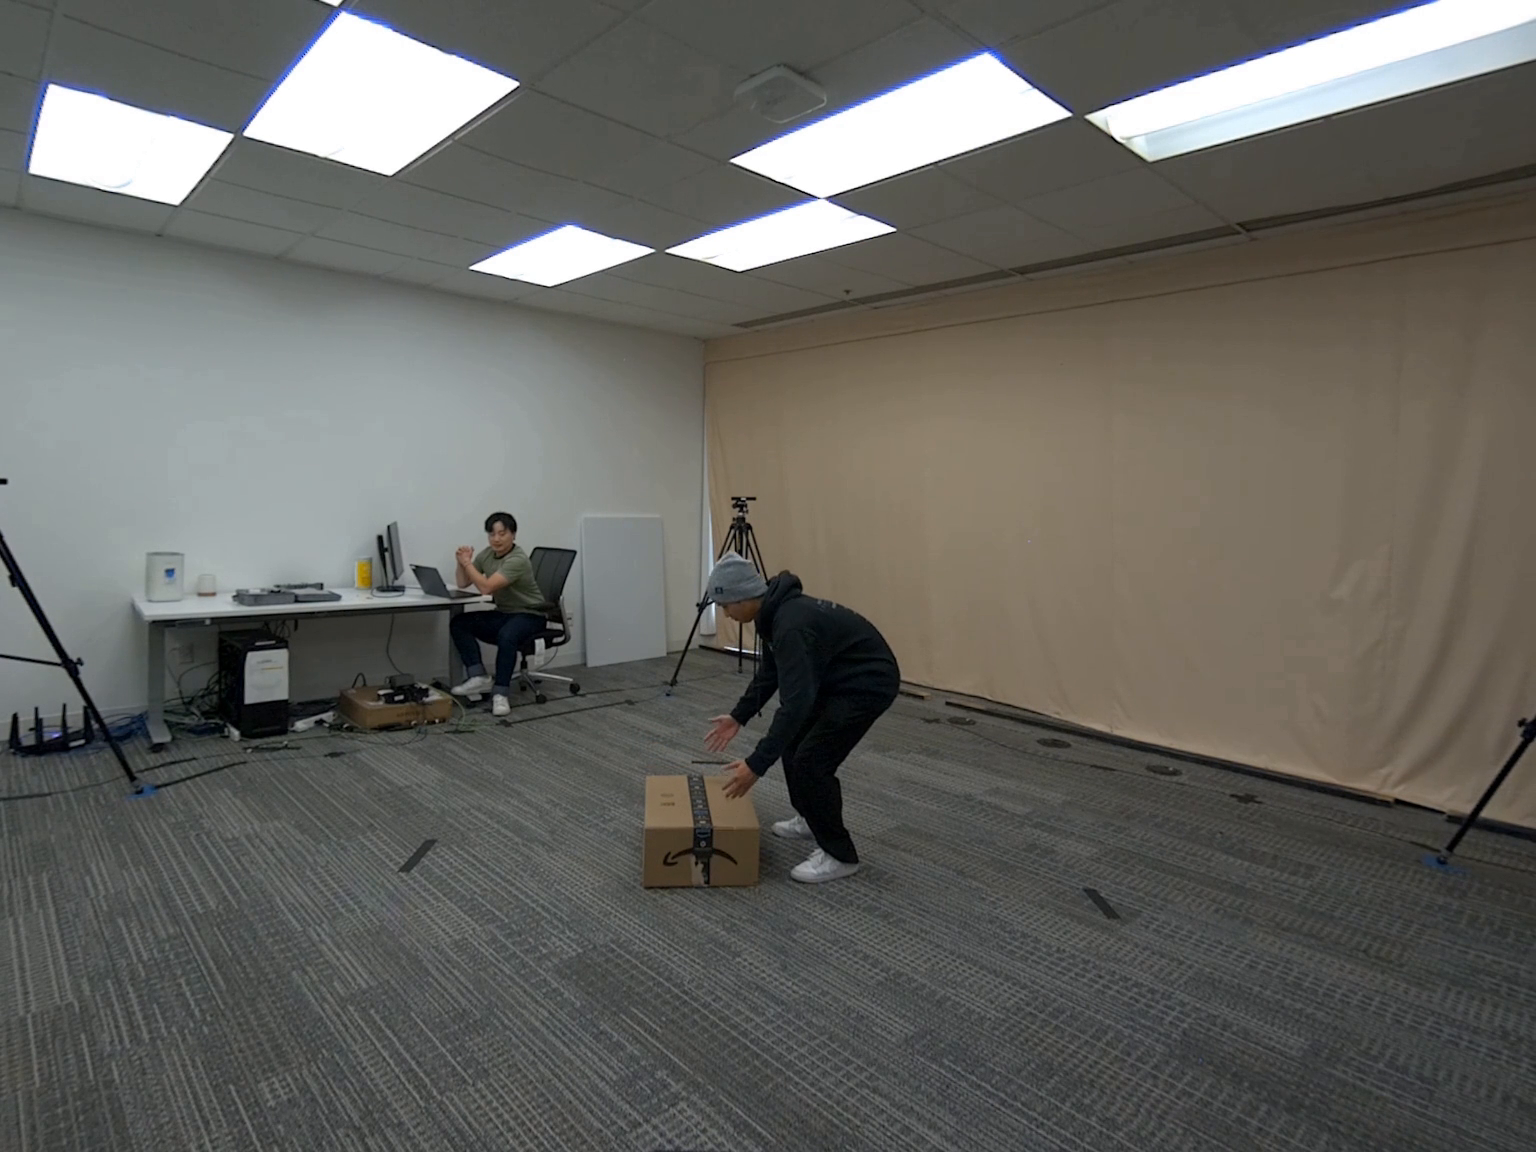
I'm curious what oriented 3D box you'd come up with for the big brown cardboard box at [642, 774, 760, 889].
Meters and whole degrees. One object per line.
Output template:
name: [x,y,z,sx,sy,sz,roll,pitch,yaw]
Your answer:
big brown cardboard box: [-0.282,0.975,3.276,0.415,0.232,0.593,2,4,-7]
